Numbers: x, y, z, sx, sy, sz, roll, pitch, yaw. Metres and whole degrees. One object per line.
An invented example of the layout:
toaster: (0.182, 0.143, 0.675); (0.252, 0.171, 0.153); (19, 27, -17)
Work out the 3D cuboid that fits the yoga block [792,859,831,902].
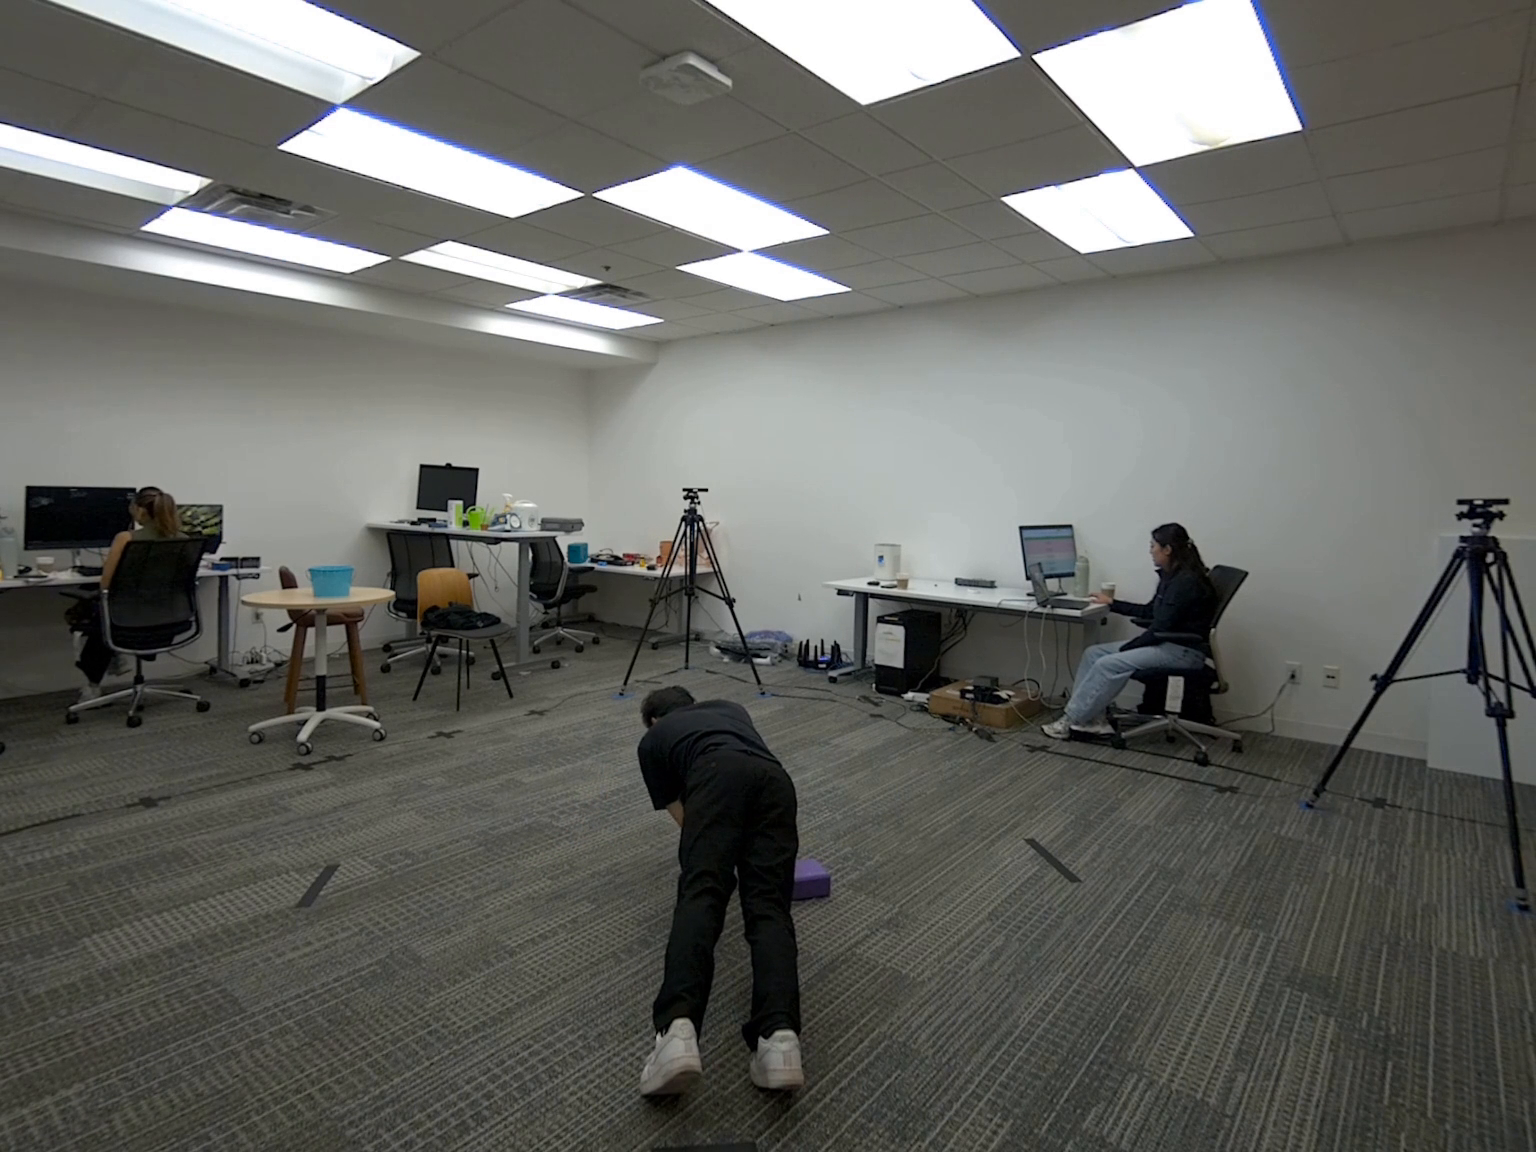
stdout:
yoga block: (0.080, 1.051, 2.950); (0.225, 0.076, 0.152); (-1, 5, -17)
